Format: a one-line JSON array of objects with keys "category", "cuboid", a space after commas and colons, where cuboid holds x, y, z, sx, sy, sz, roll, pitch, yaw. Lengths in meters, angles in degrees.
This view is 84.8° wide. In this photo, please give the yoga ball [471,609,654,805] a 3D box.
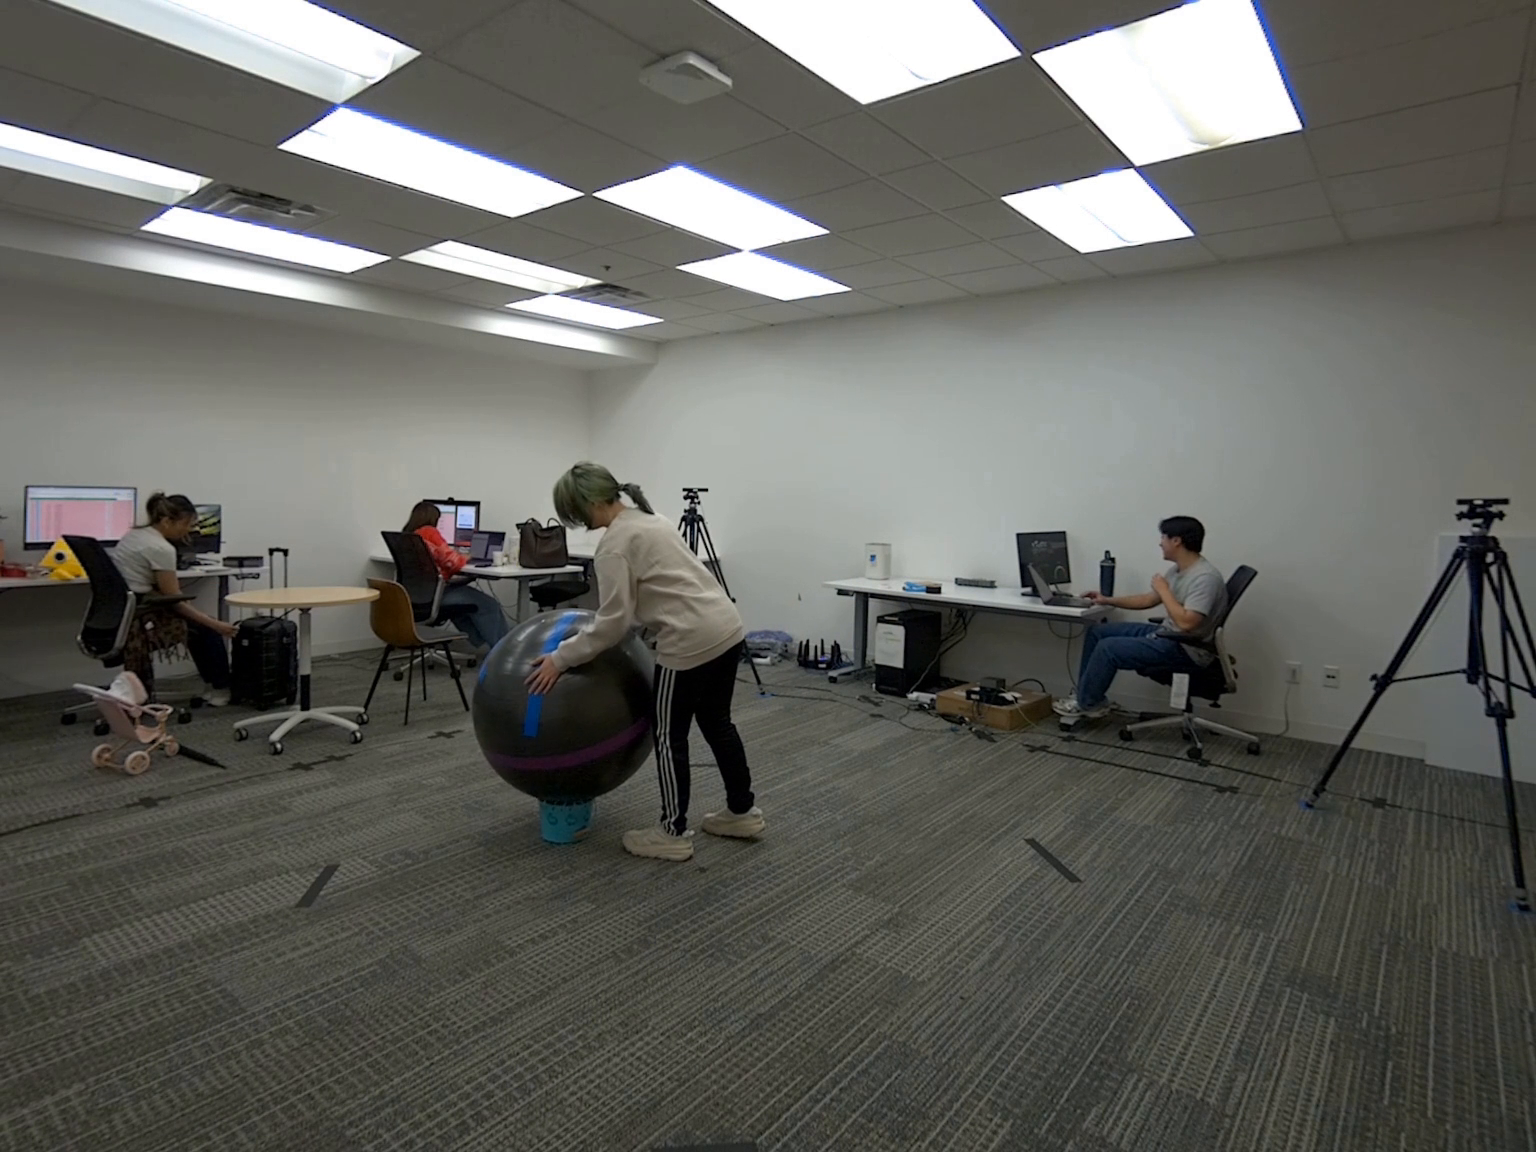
[{"category": "yoga ball", "cuboid": [-0.814, 0.513, 3.417, 0.757, 0.755, 0.762, 1, 4, -2]}]
